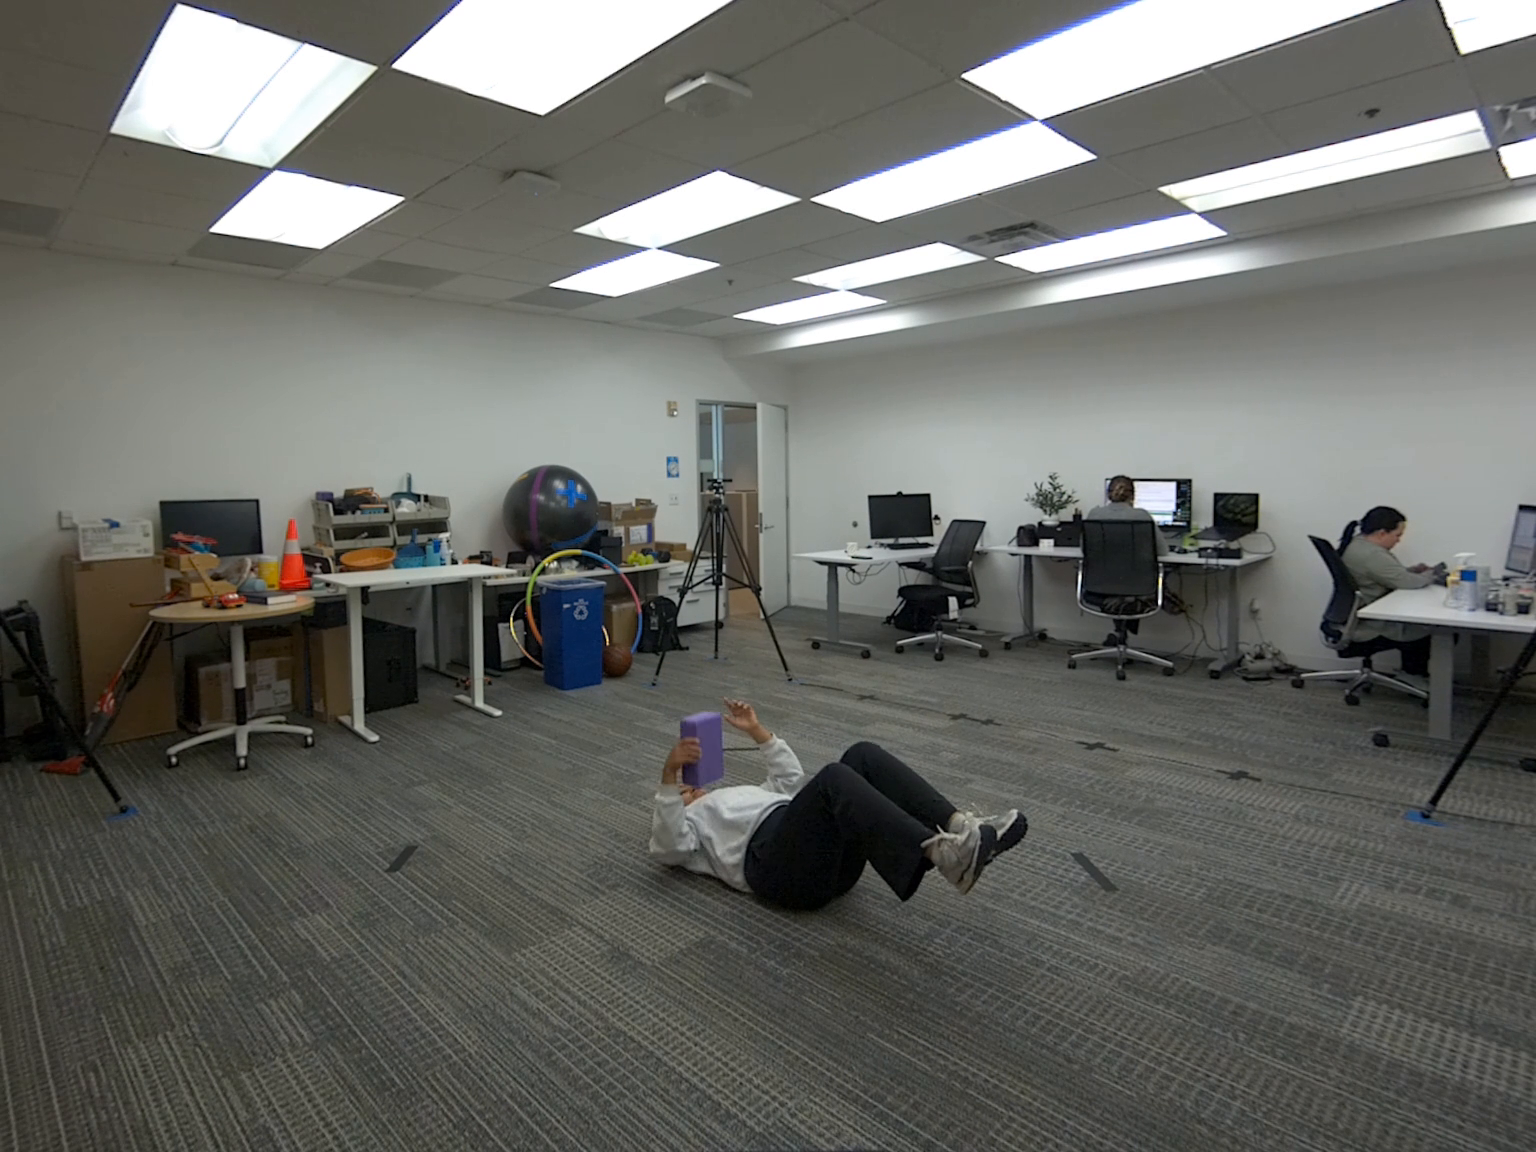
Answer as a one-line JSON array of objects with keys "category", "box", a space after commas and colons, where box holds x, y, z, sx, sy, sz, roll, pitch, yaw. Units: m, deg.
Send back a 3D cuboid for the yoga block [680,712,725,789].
[{"category": "yoga block", "box": [-0.226, 0.609, 2.983, 0.078, 0.230, 0.145, -5, -1, 36]}]
